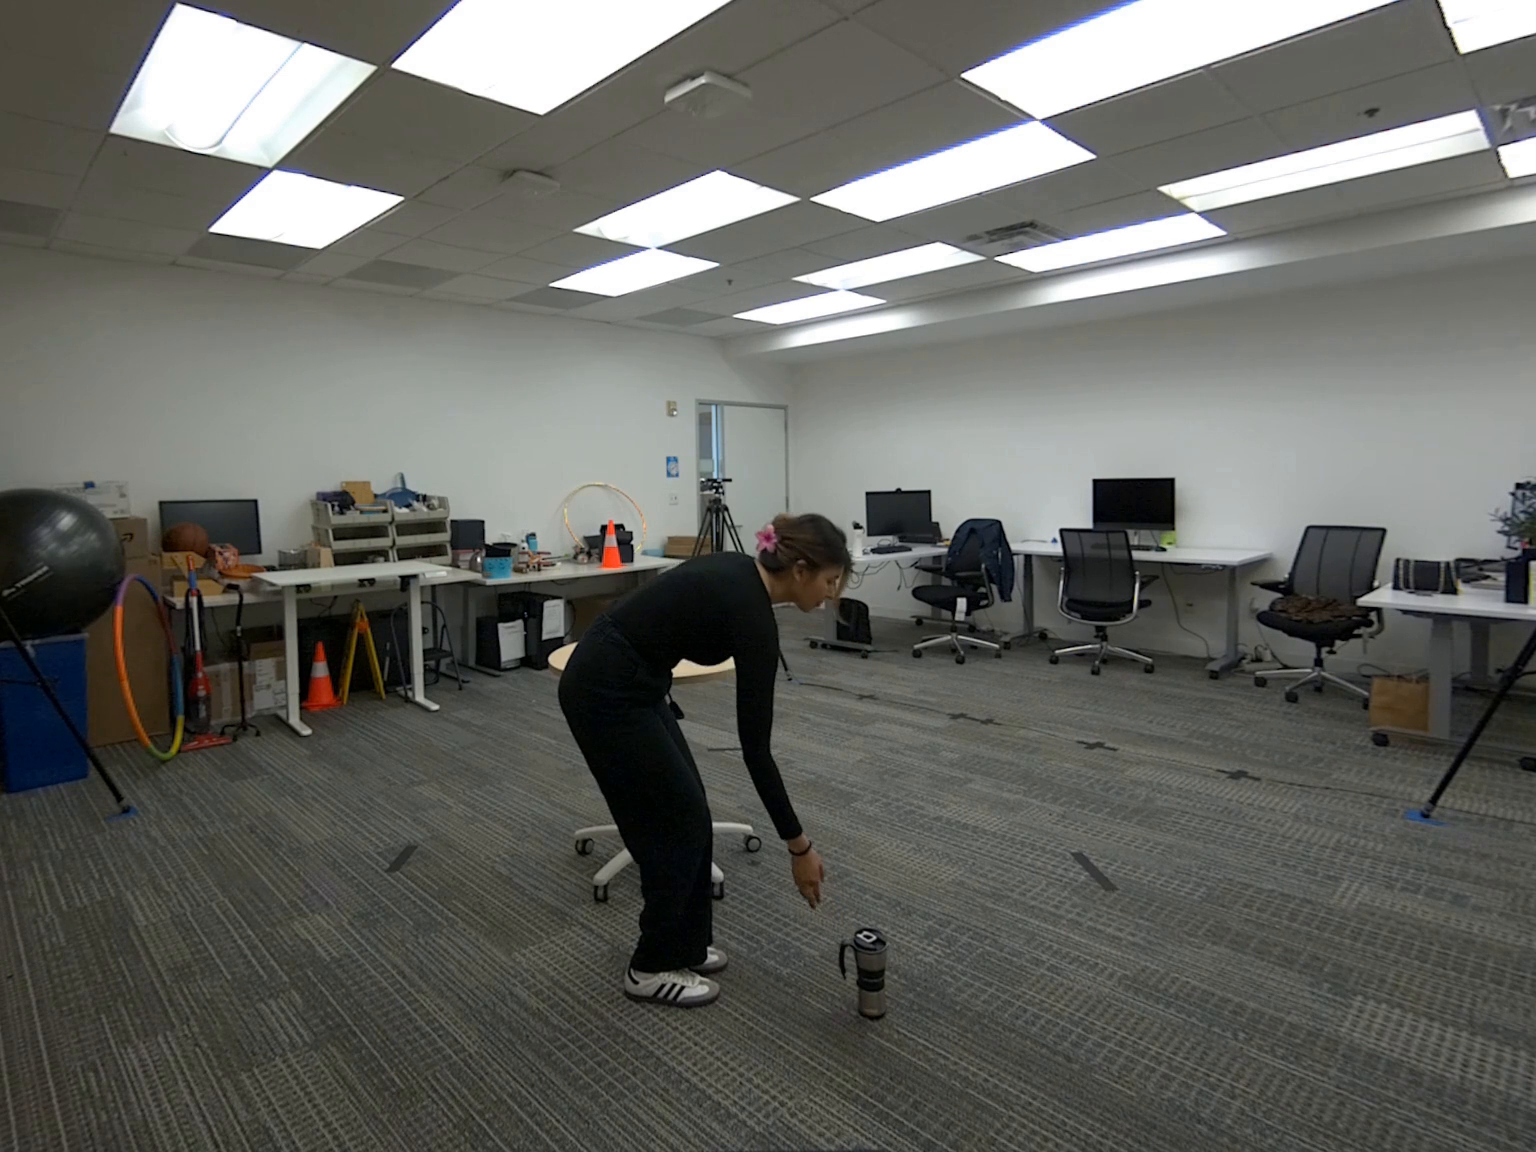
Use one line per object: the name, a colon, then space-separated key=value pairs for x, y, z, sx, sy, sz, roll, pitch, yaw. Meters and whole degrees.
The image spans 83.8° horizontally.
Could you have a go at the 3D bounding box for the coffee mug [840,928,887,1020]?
coffee mug: x=0.259 y=1.035 z=2.241 sx=0.086 sy=0.201 sz=0.126 roll=-11 pitch=14 yaw=-41
